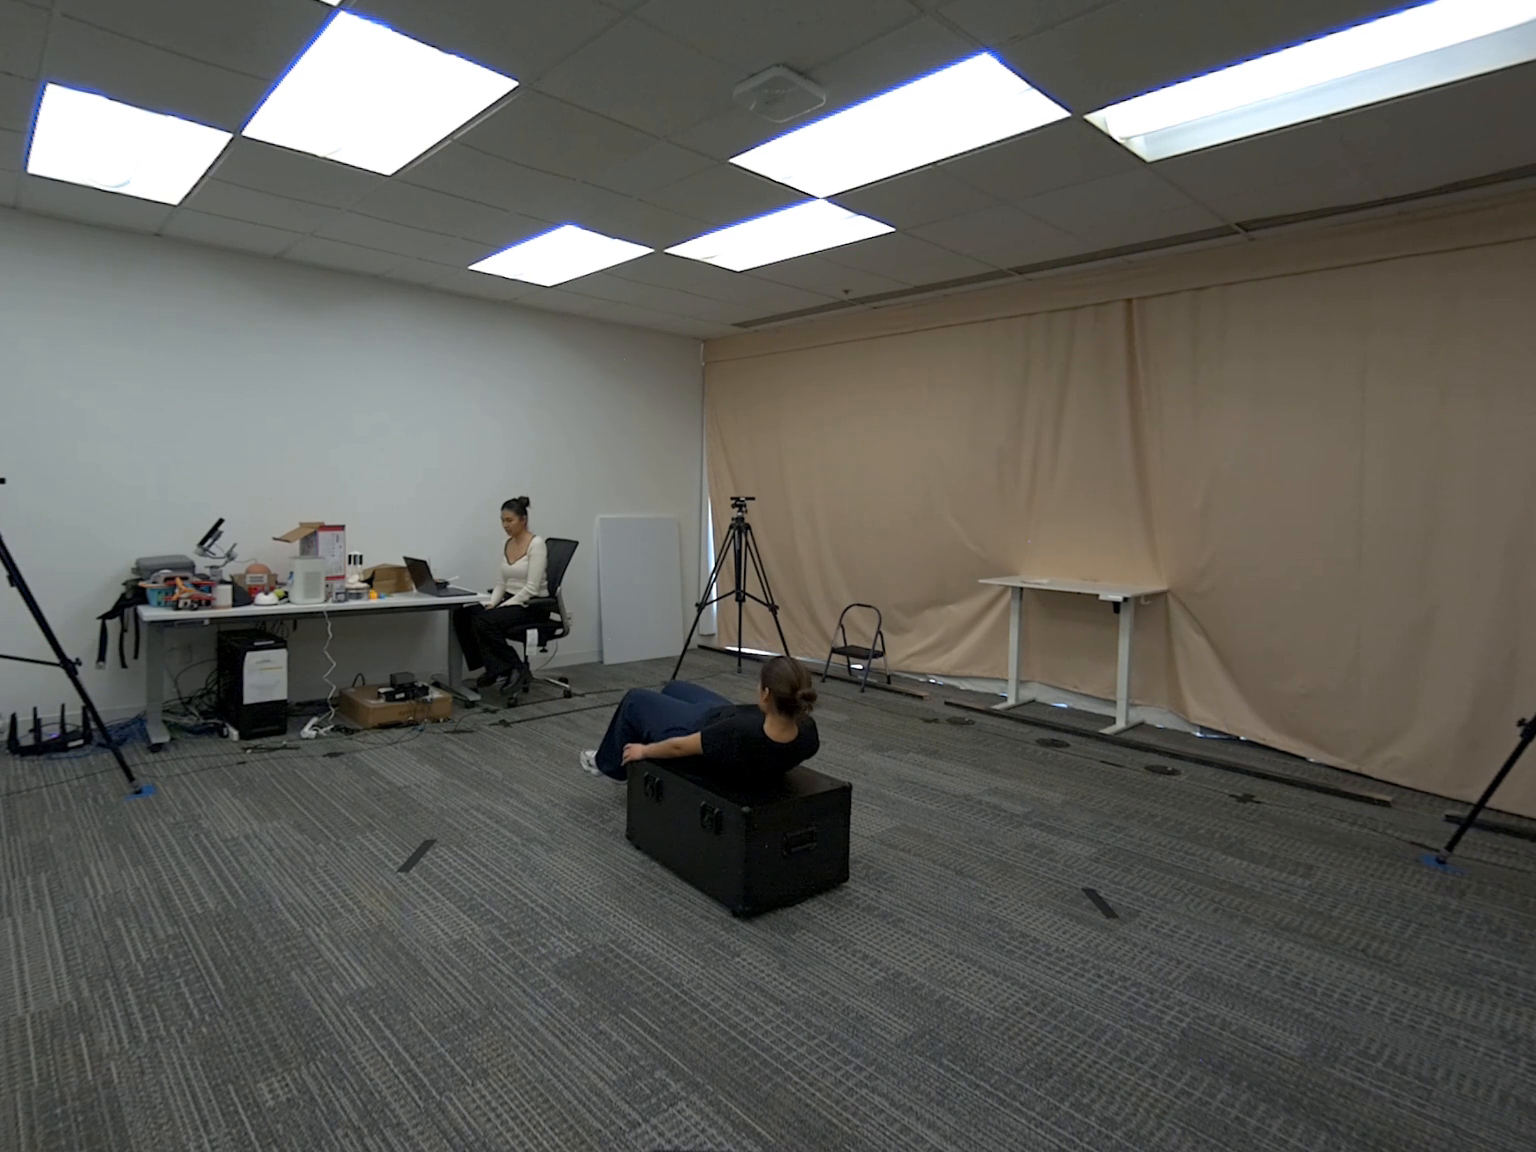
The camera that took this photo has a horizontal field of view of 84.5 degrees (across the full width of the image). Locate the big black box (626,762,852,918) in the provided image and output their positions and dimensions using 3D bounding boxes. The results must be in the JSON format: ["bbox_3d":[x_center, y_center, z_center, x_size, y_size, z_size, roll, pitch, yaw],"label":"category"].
[{"bbox_3d":[-0.120,0.916,3.146,0.510,0.395,0.883,-3,5,-38],"label":"big black box"}]
